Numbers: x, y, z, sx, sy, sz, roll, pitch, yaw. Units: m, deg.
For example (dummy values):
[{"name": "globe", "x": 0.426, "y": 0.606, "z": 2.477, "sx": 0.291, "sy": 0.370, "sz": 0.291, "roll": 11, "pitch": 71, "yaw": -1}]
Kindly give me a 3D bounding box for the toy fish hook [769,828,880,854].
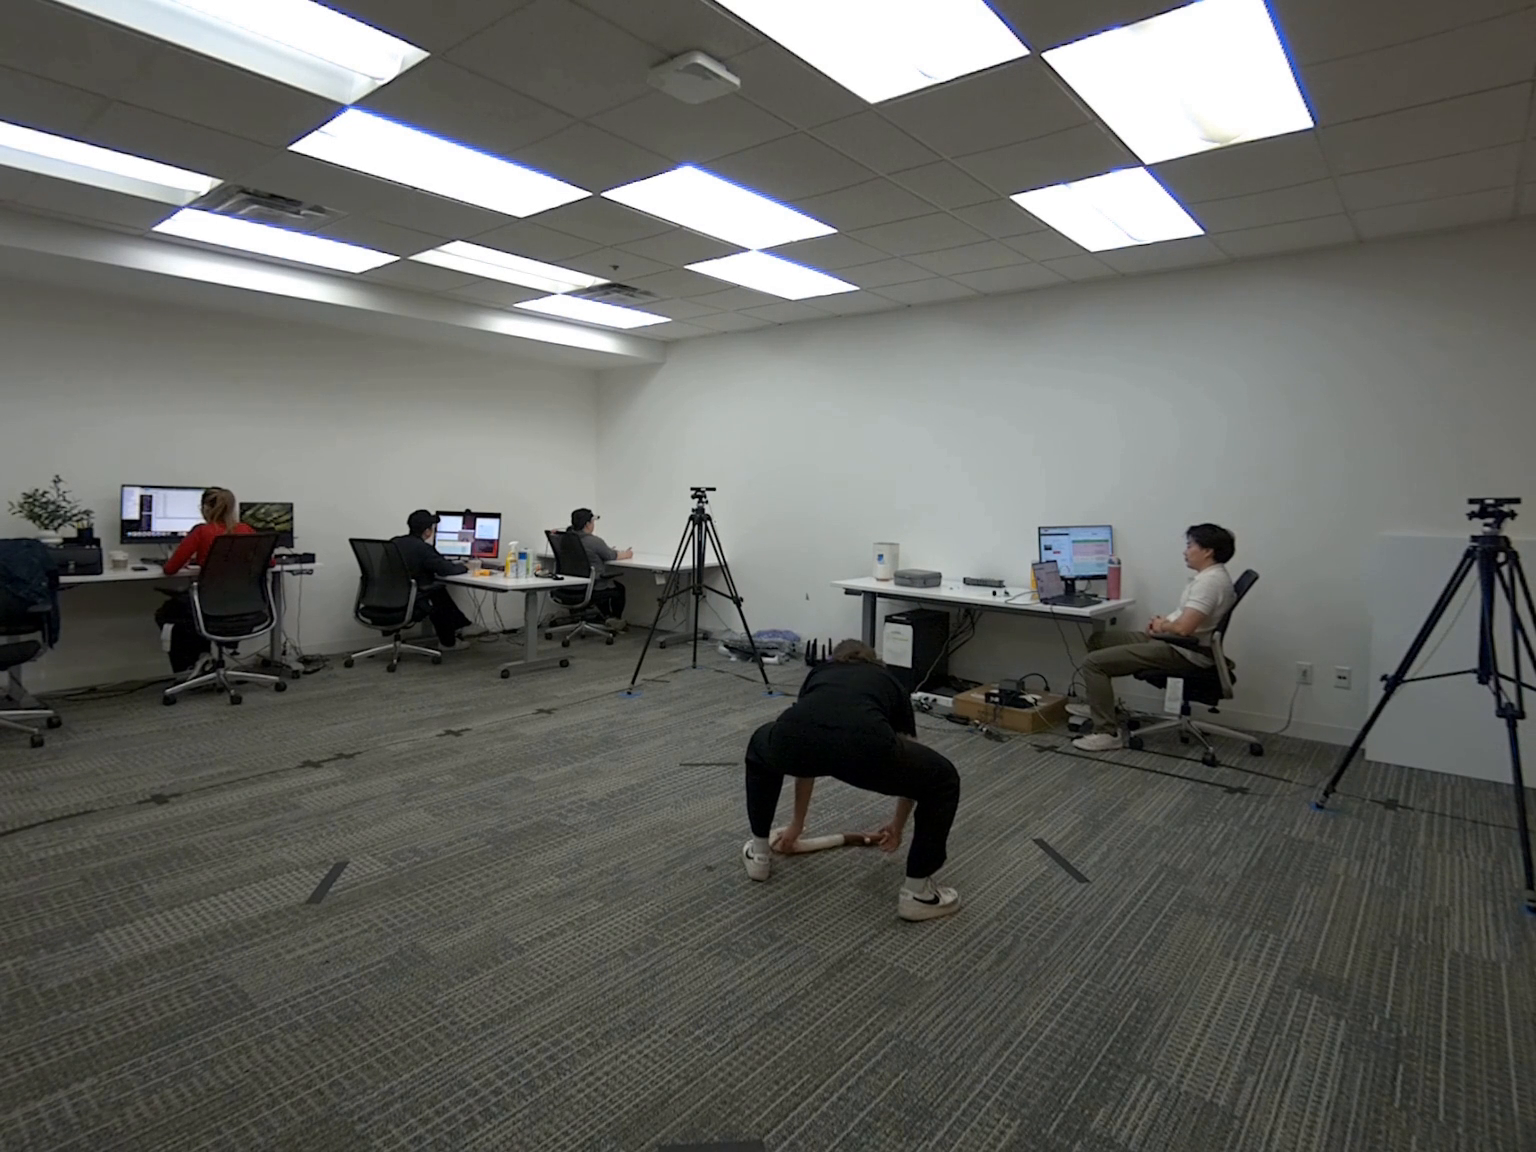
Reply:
[{"name": "toy fish hook", "x": 0.239, "y": 1.028, "z": 3.379, "sx": 0.501, "sy": 0.048, "sz": 0.228, "roll": 0, "pitch": 8, "yaw": -10}]
